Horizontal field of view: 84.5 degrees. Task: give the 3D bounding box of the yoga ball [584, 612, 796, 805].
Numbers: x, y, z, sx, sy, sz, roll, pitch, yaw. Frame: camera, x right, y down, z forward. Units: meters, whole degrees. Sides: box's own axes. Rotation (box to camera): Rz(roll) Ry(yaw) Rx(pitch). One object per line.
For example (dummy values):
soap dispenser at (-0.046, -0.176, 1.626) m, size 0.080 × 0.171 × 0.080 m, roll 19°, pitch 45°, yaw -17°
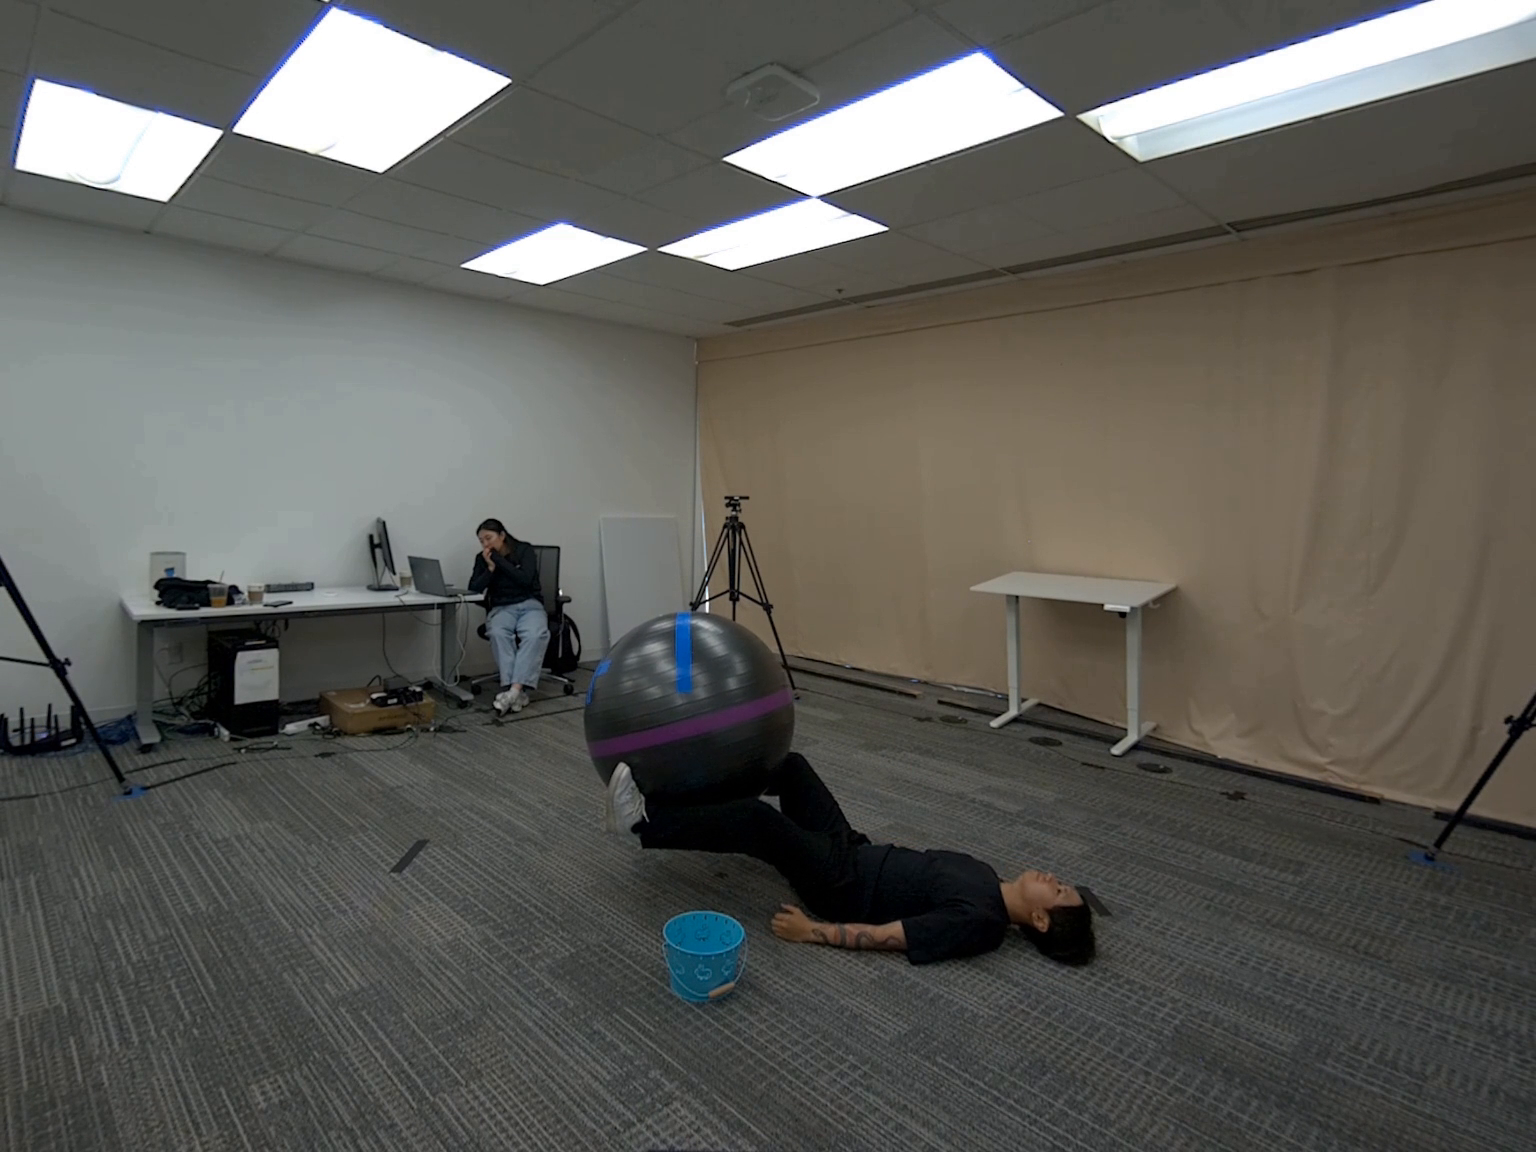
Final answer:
yoga ball at (-0.289, 0.517, 3.072) m, size 0.757 × 0.756 × 0.761 m, roll 1°, pitch 4°, yaw -1°
